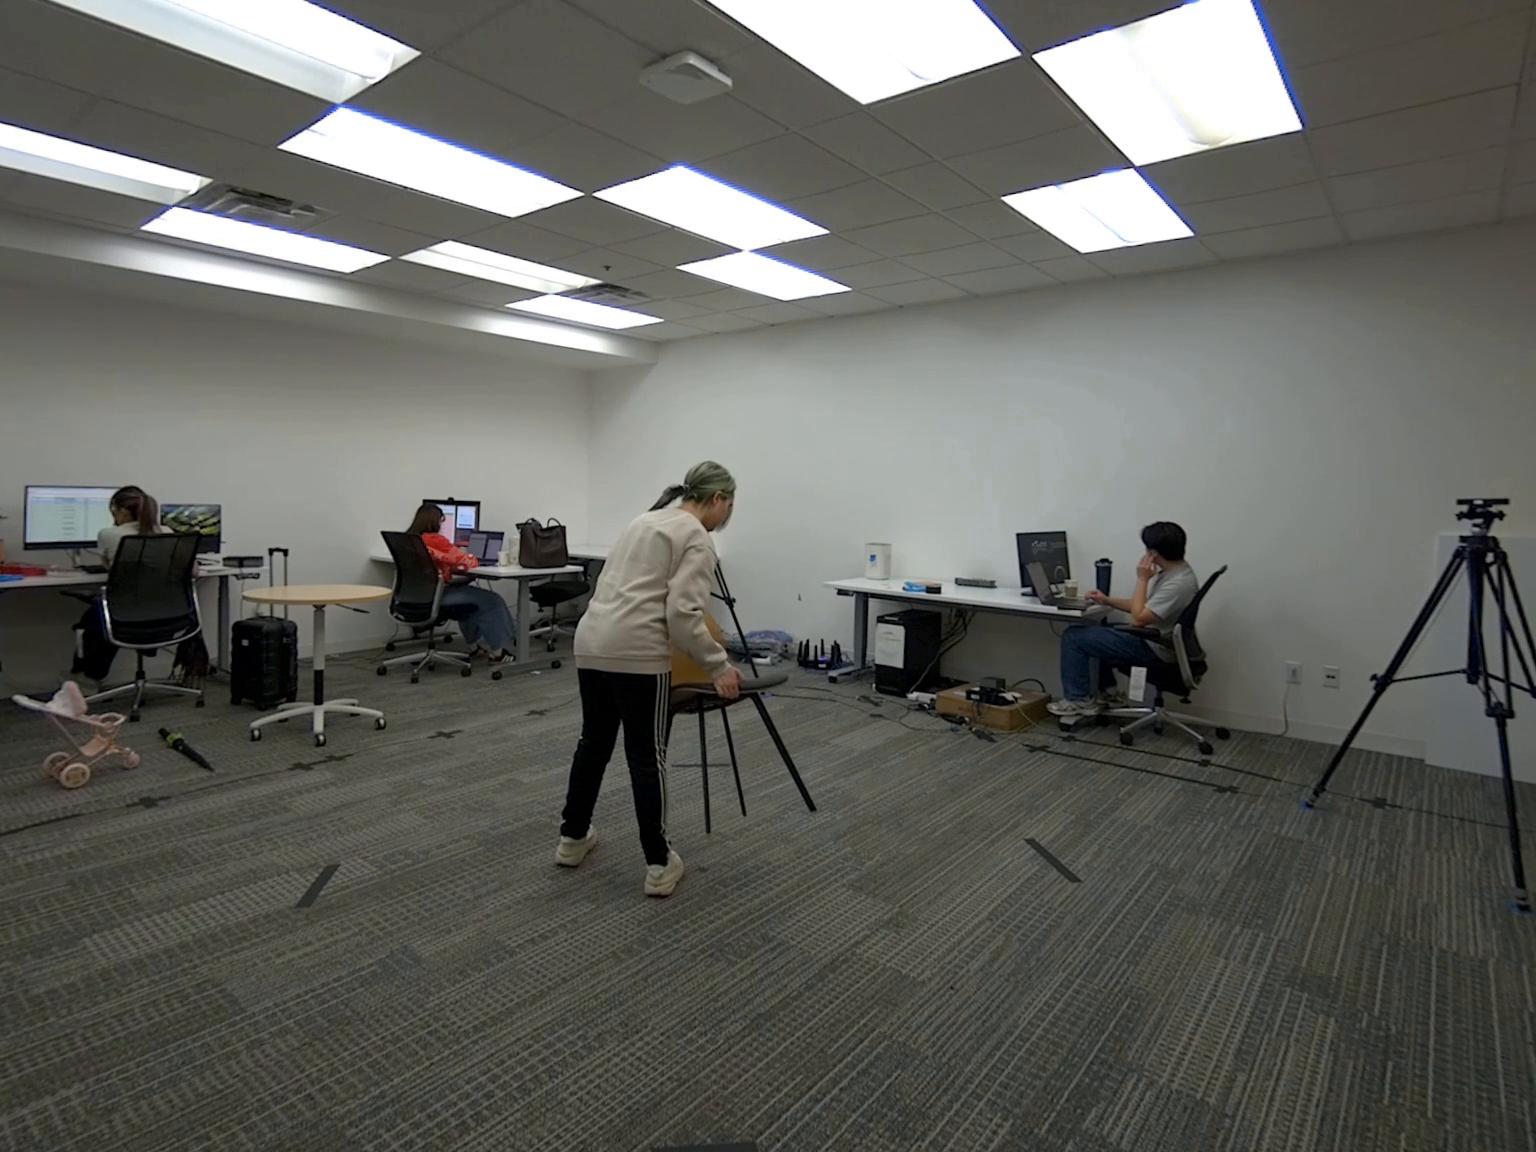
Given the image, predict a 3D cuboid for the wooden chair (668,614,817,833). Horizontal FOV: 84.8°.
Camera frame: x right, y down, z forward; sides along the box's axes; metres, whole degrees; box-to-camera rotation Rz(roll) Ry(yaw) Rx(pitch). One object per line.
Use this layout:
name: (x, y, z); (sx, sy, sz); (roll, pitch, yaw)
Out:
wooden chair: (-0.202, 0.472, 3.126); (0.464, 0.895, 0.528); (0, -21, -35)
